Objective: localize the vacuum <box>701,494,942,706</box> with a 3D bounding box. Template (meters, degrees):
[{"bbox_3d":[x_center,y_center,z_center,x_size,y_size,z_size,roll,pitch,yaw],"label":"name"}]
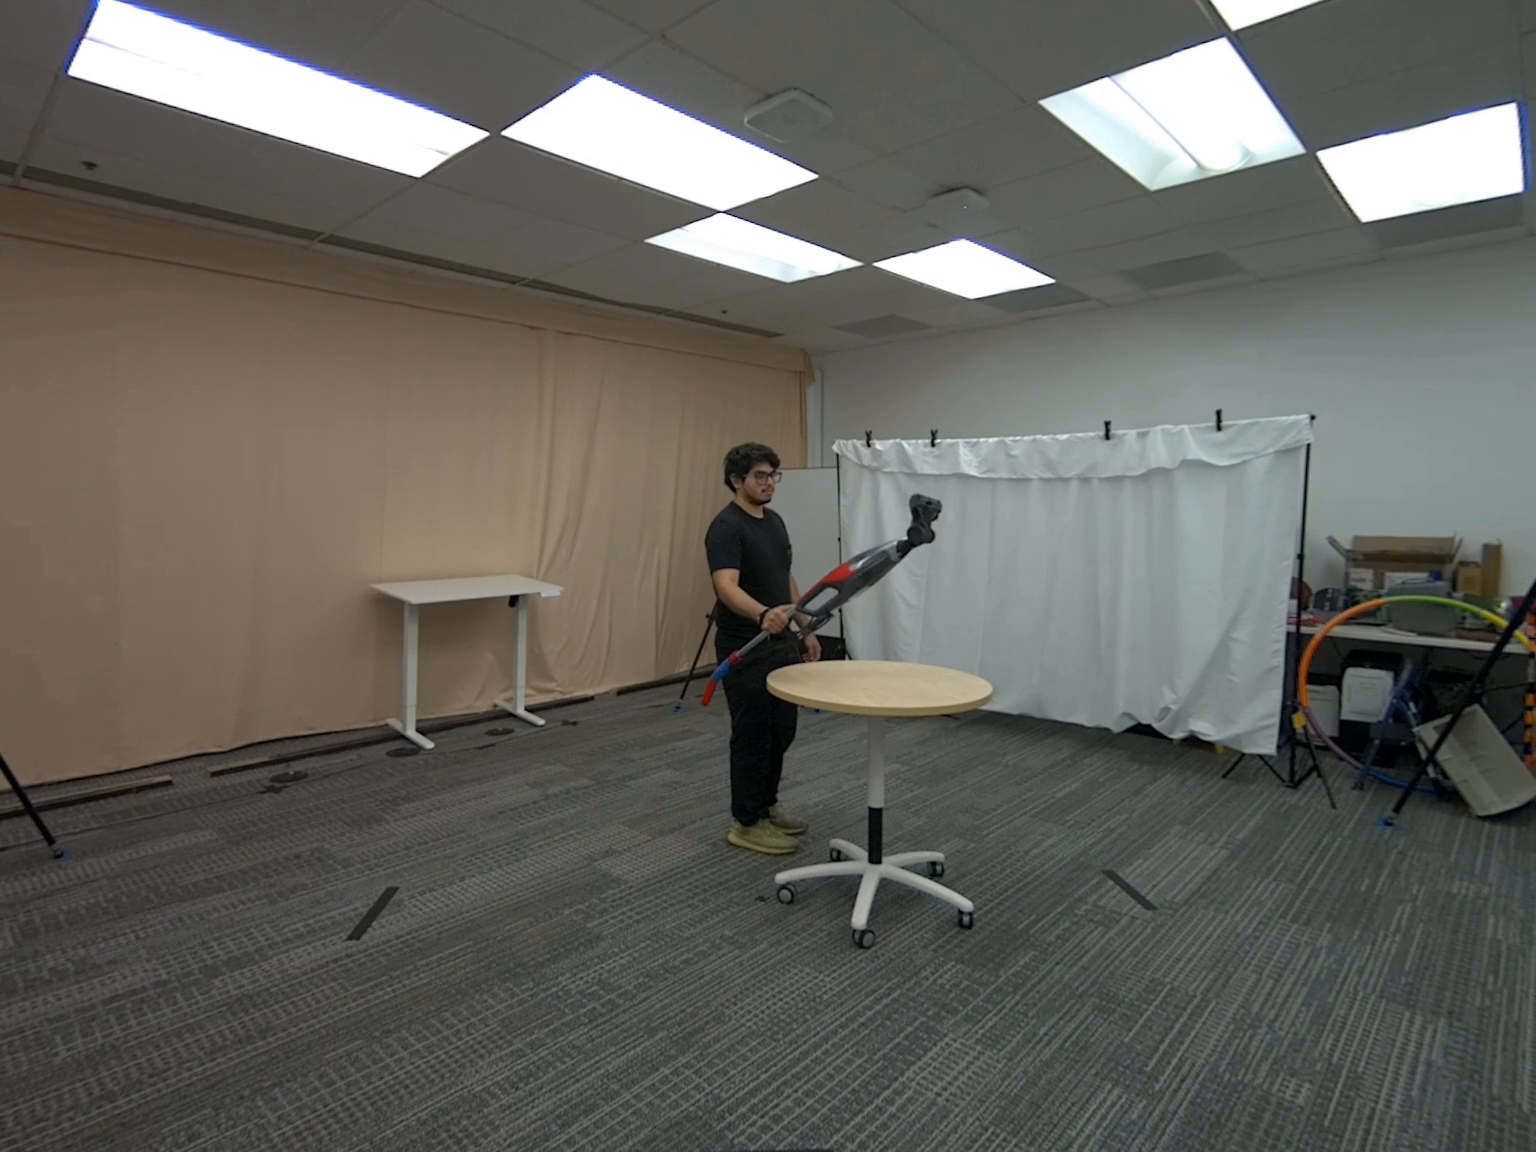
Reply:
[{"bbox_3d":[0.162,0.127,2.865,1.058,0.147,0.245,-41,-21,24],"label":"vacuum"}]
